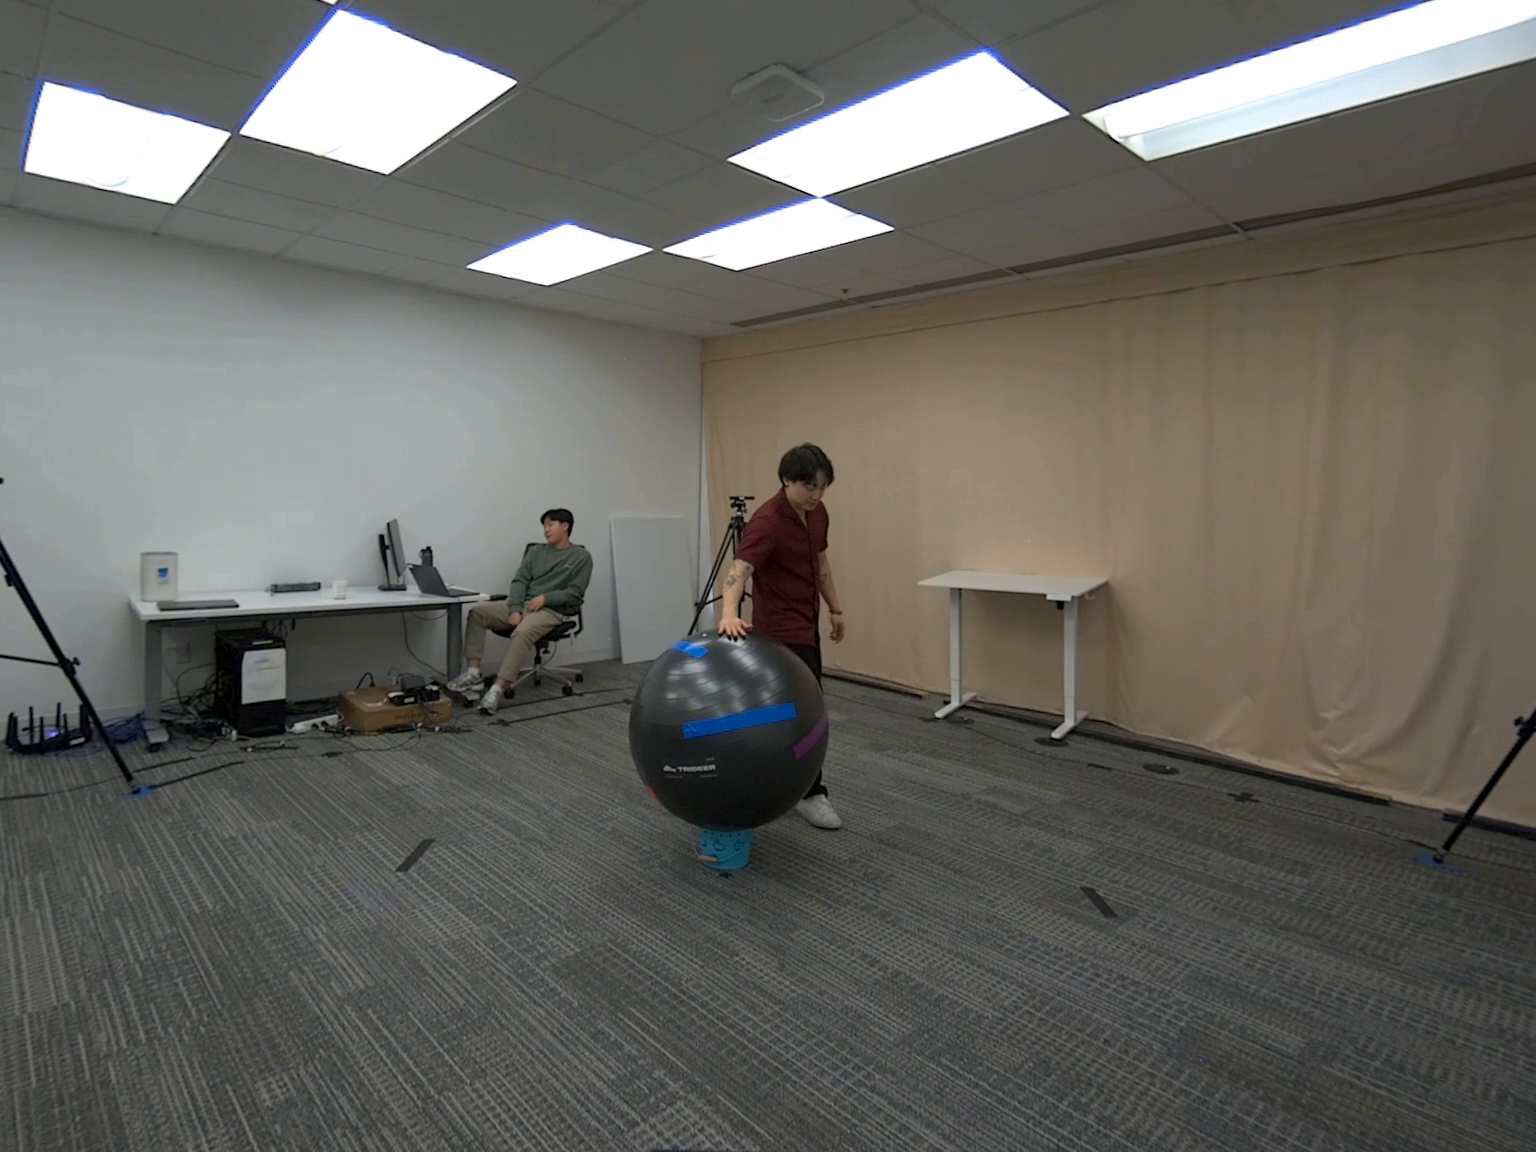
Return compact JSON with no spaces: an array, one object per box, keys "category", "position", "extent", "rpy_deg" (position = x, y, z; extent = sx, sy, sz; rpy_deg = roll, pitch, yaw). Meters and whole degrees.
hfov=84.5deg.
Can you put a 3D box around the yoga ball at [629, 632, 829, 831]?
[{"category":"yoga ball","position":[-0.158,0.586,3.215],"extent":[0.757,0.756,0.761],"rpy_deg":[1,4,-1]}]
